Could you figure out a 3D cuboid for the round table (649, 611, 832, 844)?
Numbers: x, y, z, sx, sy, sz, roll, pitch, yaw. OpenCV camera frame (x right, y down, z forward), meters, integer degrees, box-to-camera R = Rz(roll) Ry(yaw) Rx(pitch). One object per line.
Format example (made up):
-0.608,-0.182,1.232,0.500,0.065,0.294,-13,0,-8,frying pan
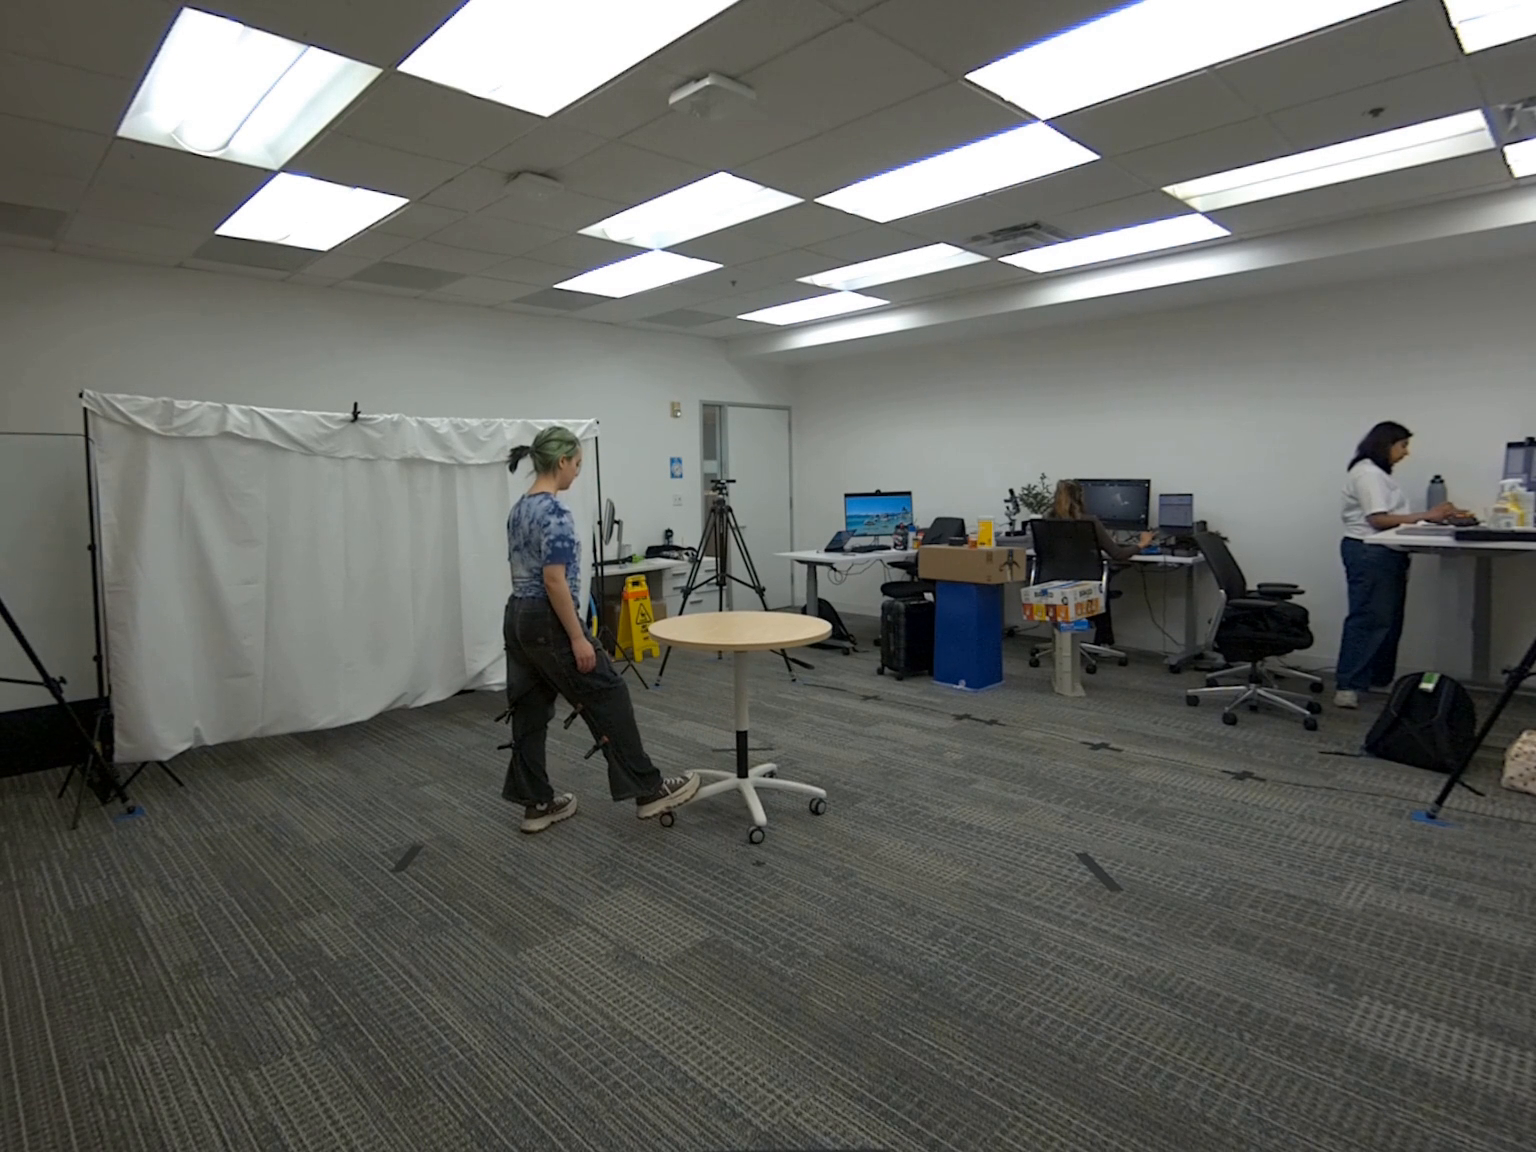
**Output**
-0.118,0.600,3.592,0.763,0.791,0.768,-1,5,-2,round table
